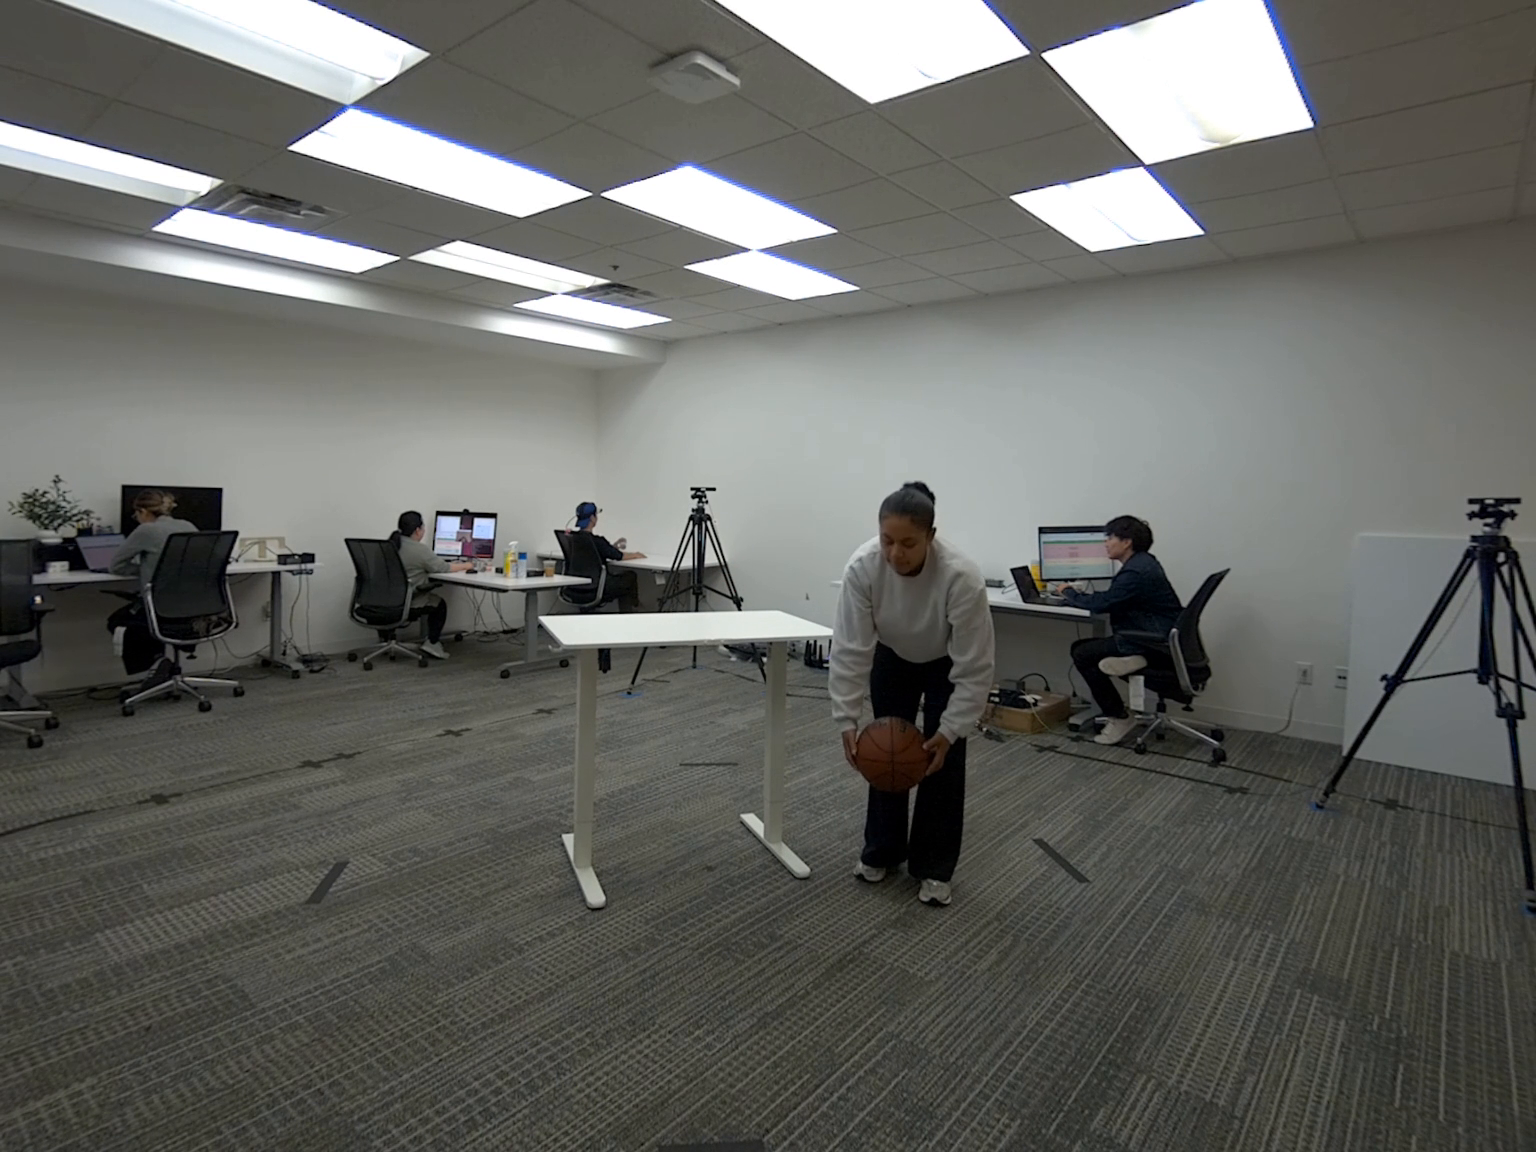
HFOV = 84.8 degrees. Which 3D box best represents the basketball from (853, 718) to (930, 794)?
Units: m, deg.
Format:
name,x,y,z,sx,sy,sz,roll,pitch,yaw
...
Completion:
name,x,y,z,sx,sy,sz,roll,pitch,yaw
basketball,0.392,0.572,2.761,0.235,0.235,0.237,1,4,-2
